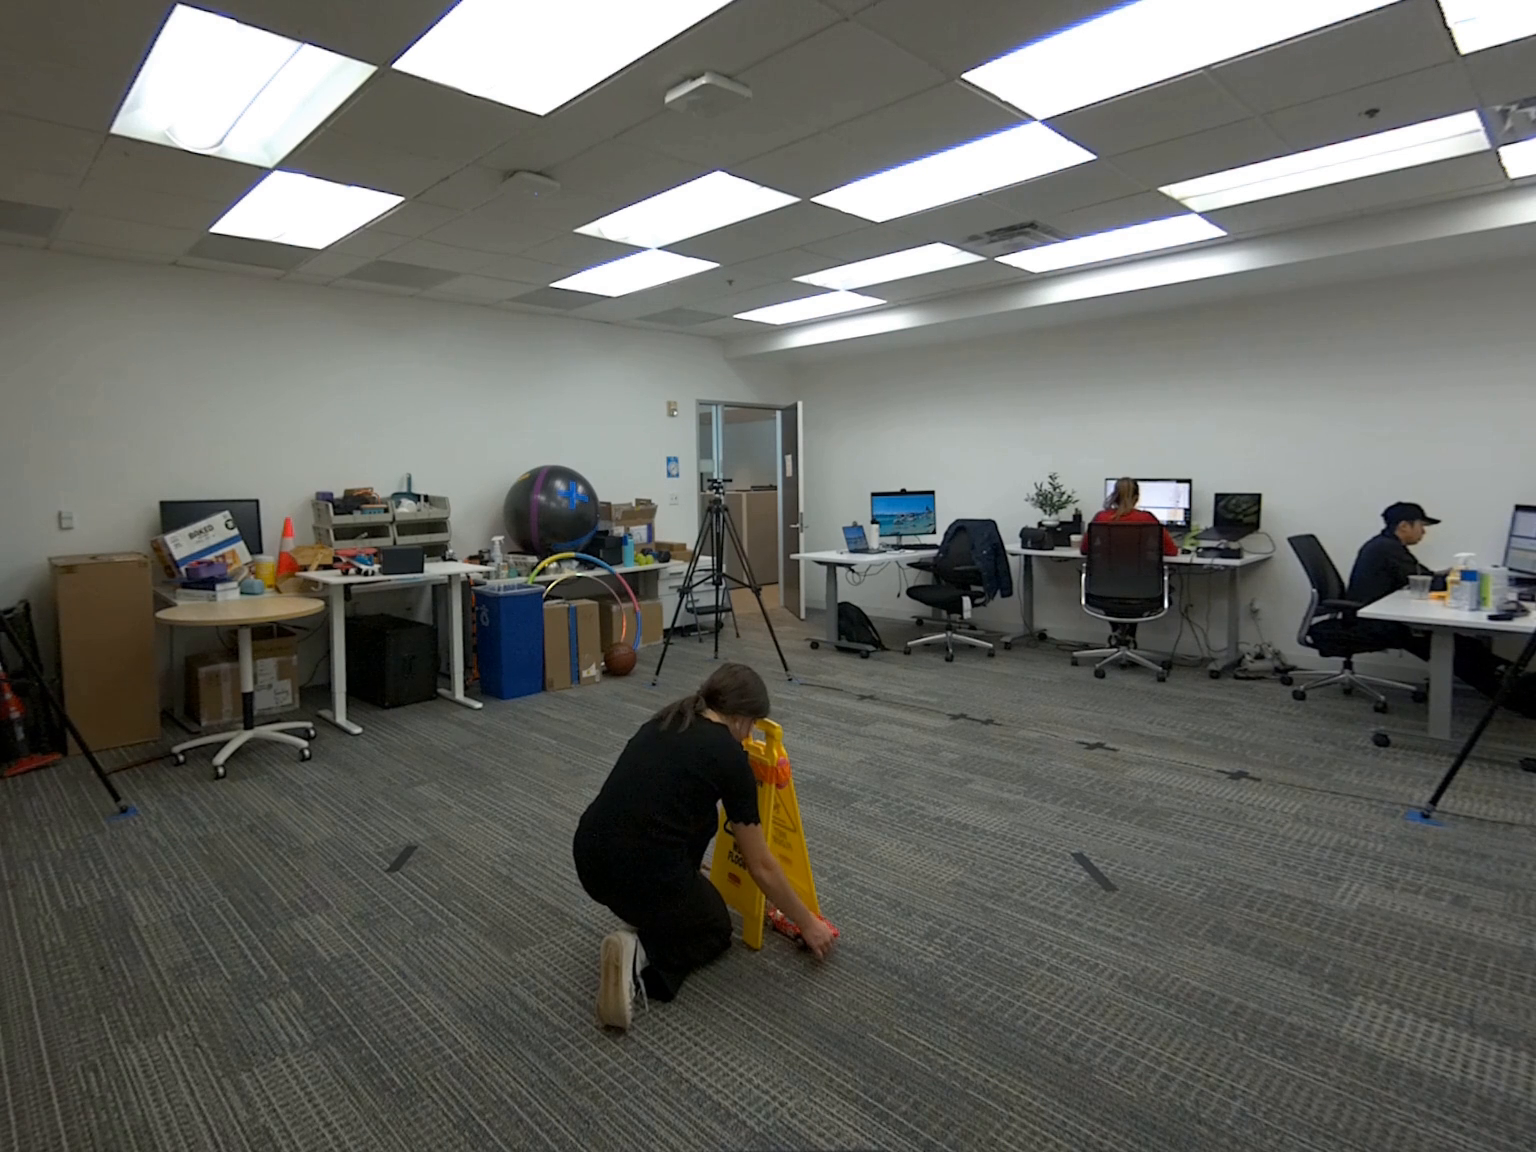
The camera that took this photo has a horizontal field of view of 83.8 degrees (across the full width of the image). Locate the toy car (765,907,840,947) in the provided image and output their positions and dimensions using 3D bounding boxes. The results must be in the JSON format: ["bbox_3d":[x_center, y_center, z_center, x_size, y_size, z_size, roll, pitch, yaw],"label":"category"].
[{"bbox_3d":[0.096,1.070,2.597,0.127,0.083,0.261,-5,-1,-38],"label":"toy car"}]
